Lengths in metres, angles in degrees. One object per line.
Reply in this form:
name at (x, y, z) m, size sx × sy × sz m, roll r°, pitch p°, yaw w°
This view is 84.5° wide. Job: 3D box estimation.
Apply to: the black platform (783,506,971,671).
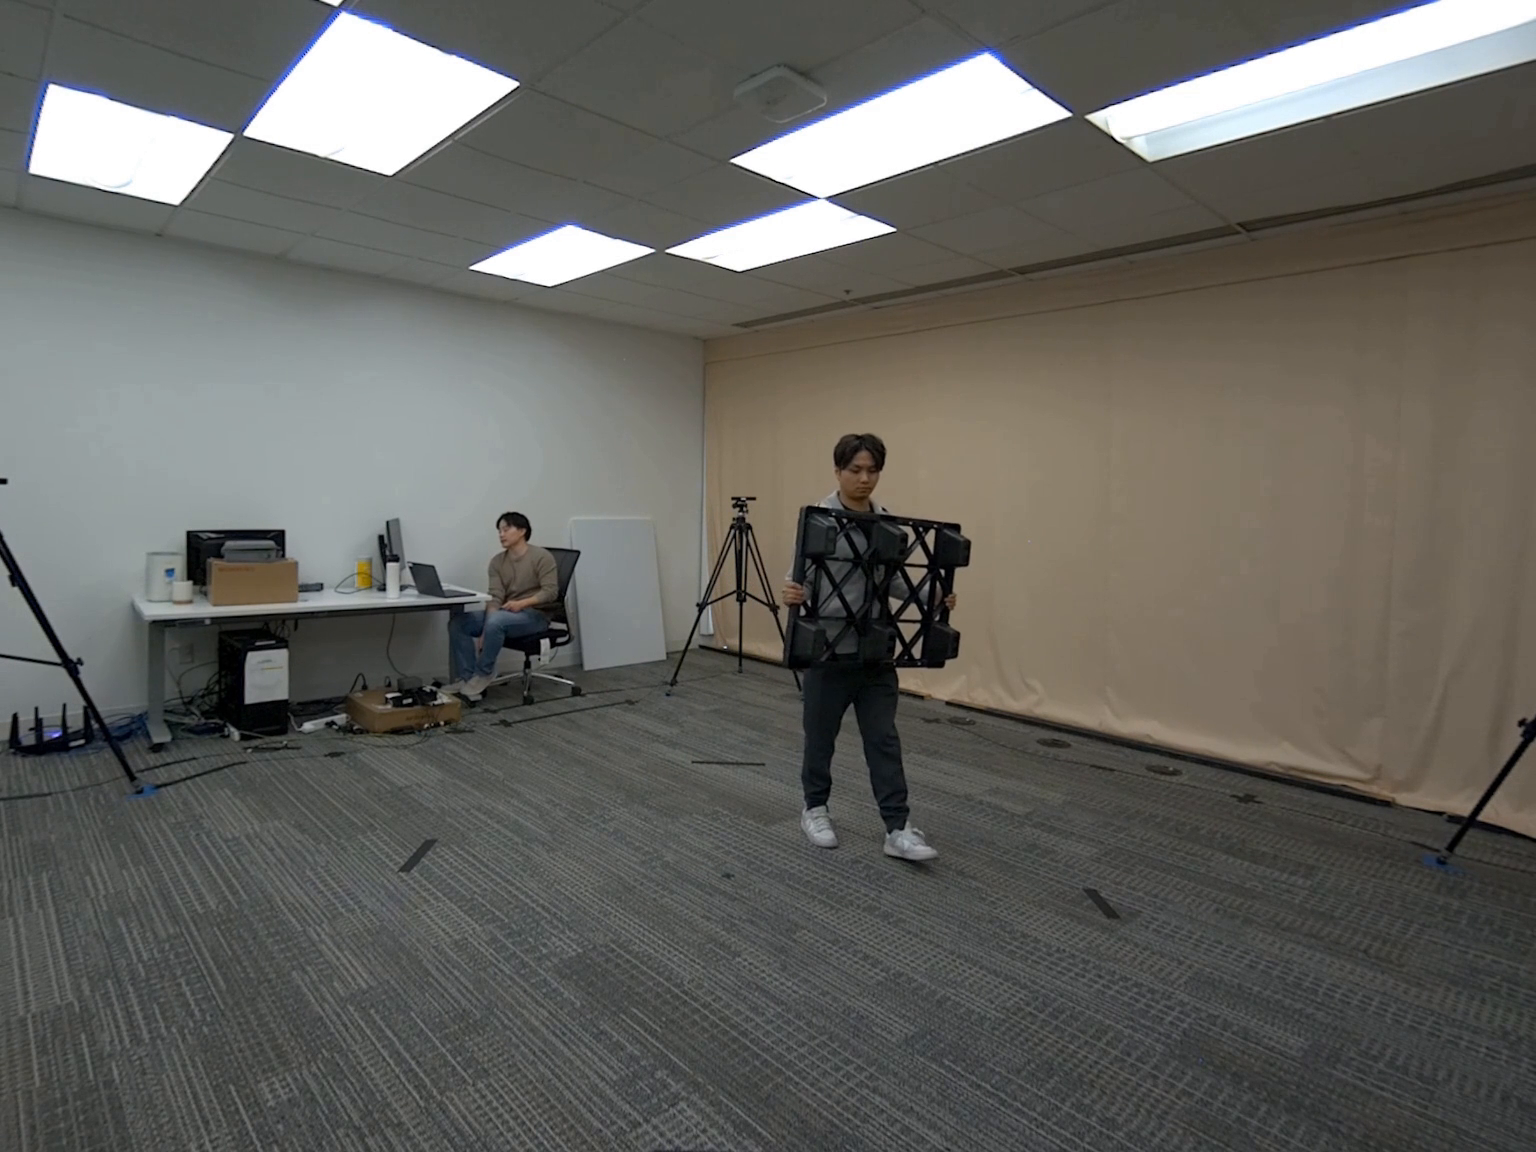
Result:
black platform at (0.431, 0.070, 3.208) m, size 0.788 × 0.604 × 0.147 m, roll 4°, pitch 3°, yaw -31°
